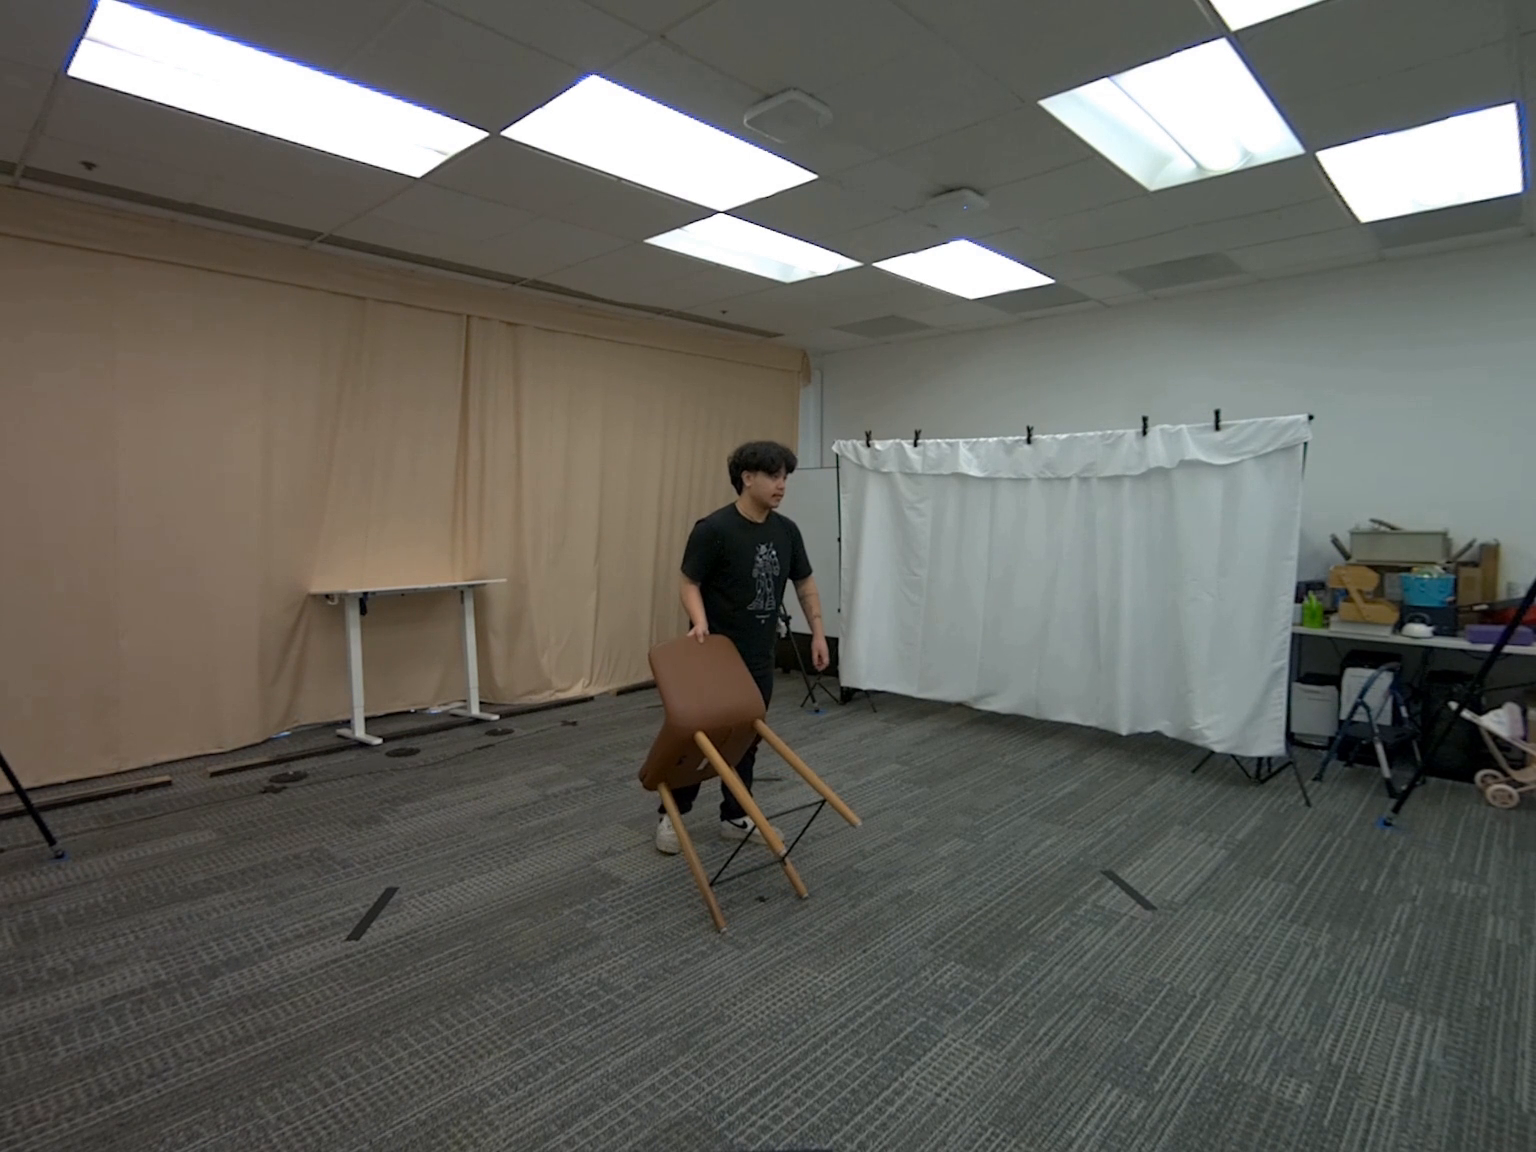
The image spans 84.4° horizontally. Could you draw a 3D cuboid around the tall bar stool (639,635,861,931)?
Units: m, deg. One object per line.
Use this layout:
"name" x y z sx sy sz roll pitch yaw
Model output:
"tall bar stool" -0.145 0.687 3.004 0.443 0.467 0.918 -4 45 -42
